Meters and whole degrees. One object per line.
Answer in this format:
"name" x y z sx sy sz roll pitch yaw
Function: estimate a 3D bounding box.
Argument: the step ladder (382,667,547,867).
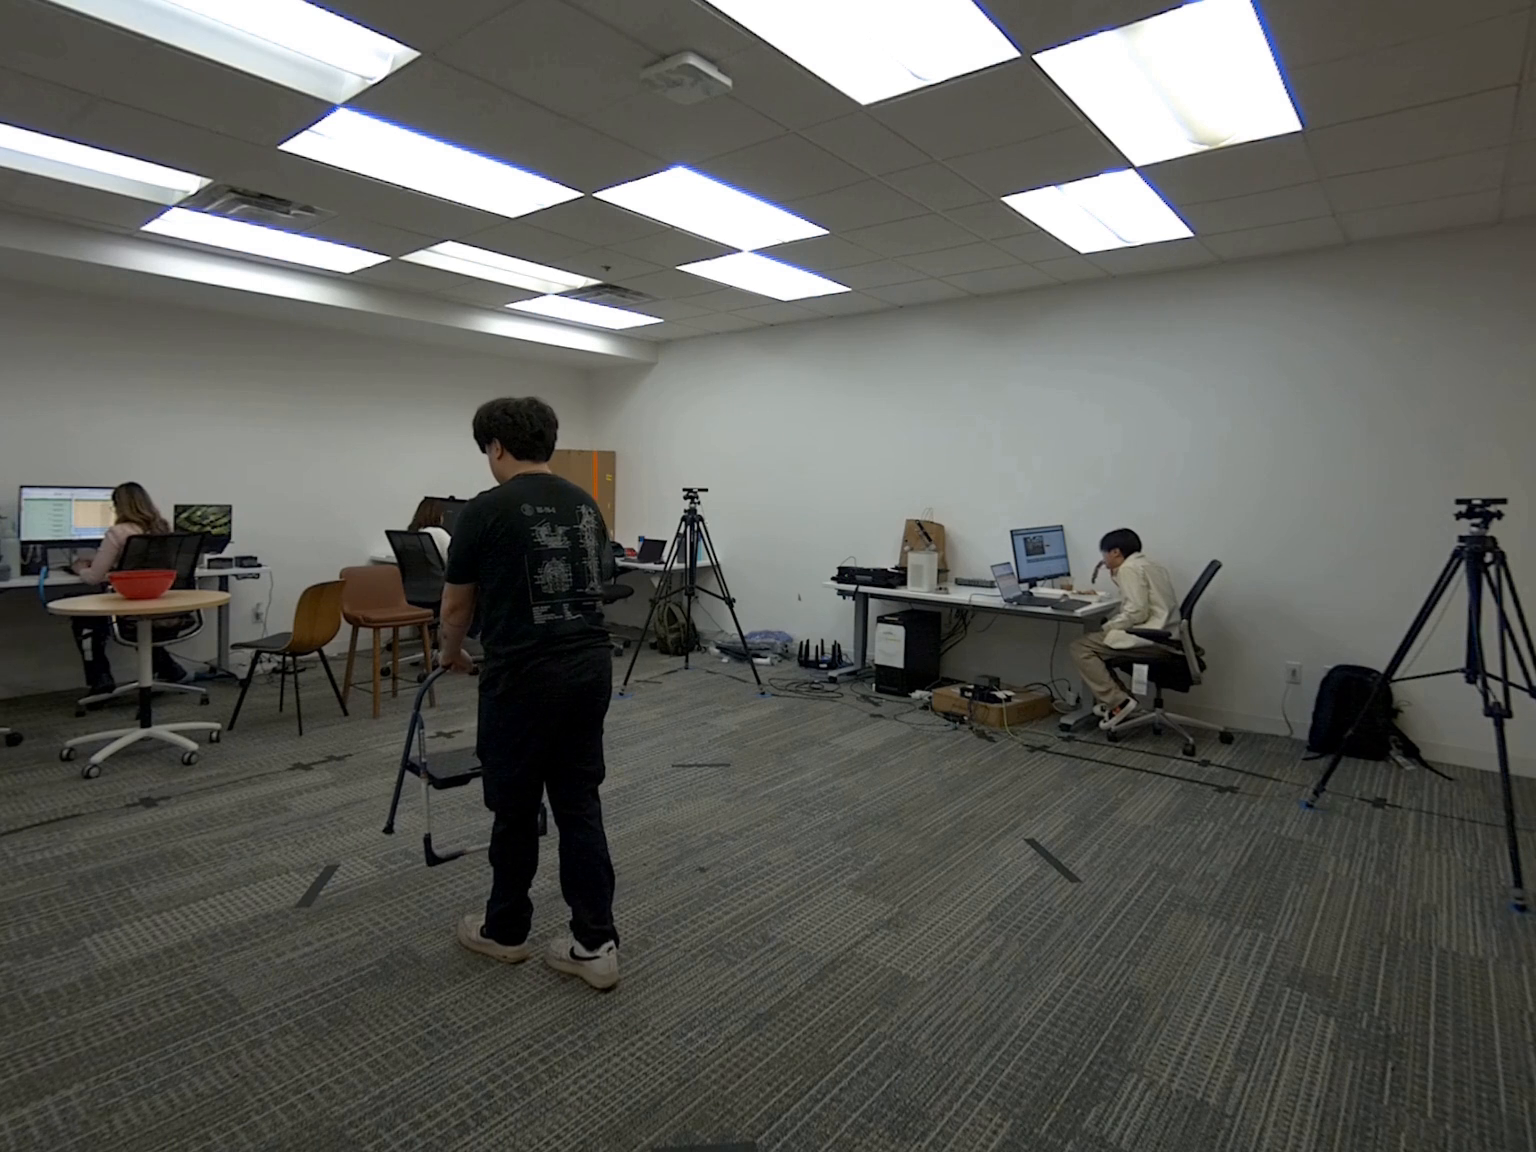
"step ladder" -0.994 0.553 2.785 0.361 0.604 0.417 6 5 44
